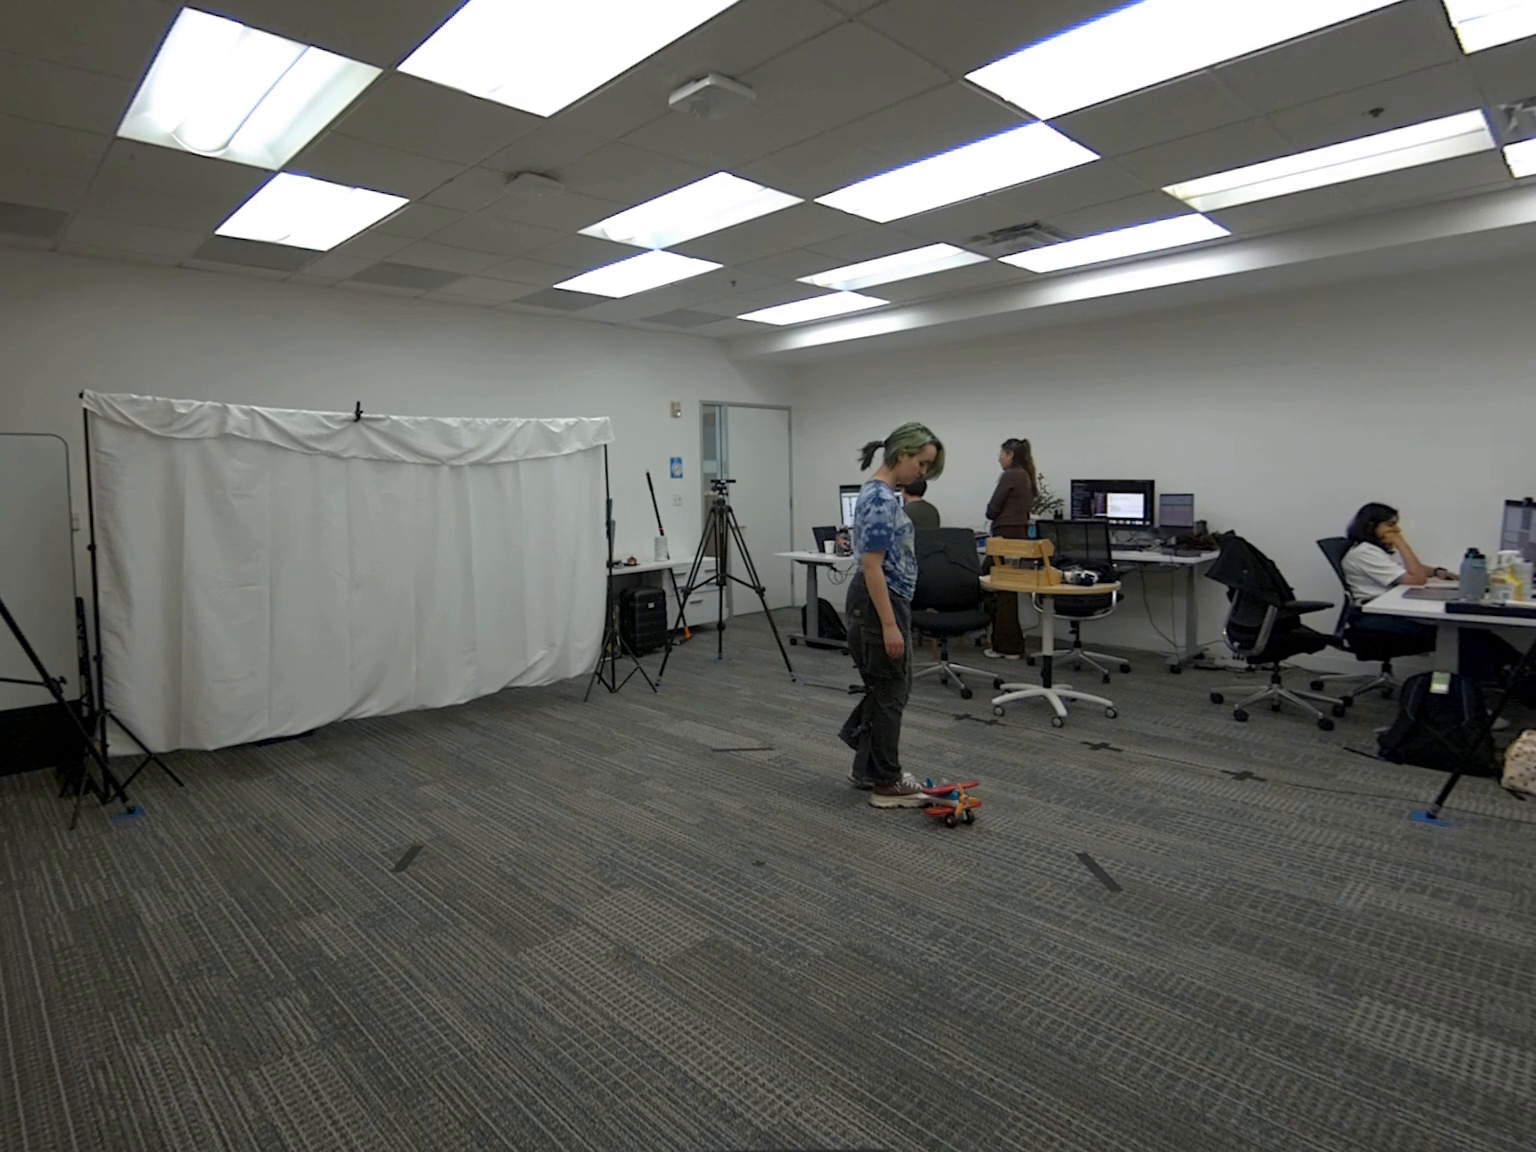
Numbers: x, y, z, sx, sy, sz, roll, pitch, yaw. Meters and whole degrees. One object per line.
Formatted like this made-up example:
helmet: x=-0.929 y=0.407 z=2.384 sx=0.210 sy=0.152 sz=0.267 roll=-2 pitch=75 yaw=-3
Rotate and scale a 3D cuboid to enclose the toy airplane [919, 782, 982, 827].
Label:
toy airplane: x=0.717 y=0.916 z=3.489 sx=0.267 sy=0.155 sz=0.245 roll=5 pitch=9 yaw=38
